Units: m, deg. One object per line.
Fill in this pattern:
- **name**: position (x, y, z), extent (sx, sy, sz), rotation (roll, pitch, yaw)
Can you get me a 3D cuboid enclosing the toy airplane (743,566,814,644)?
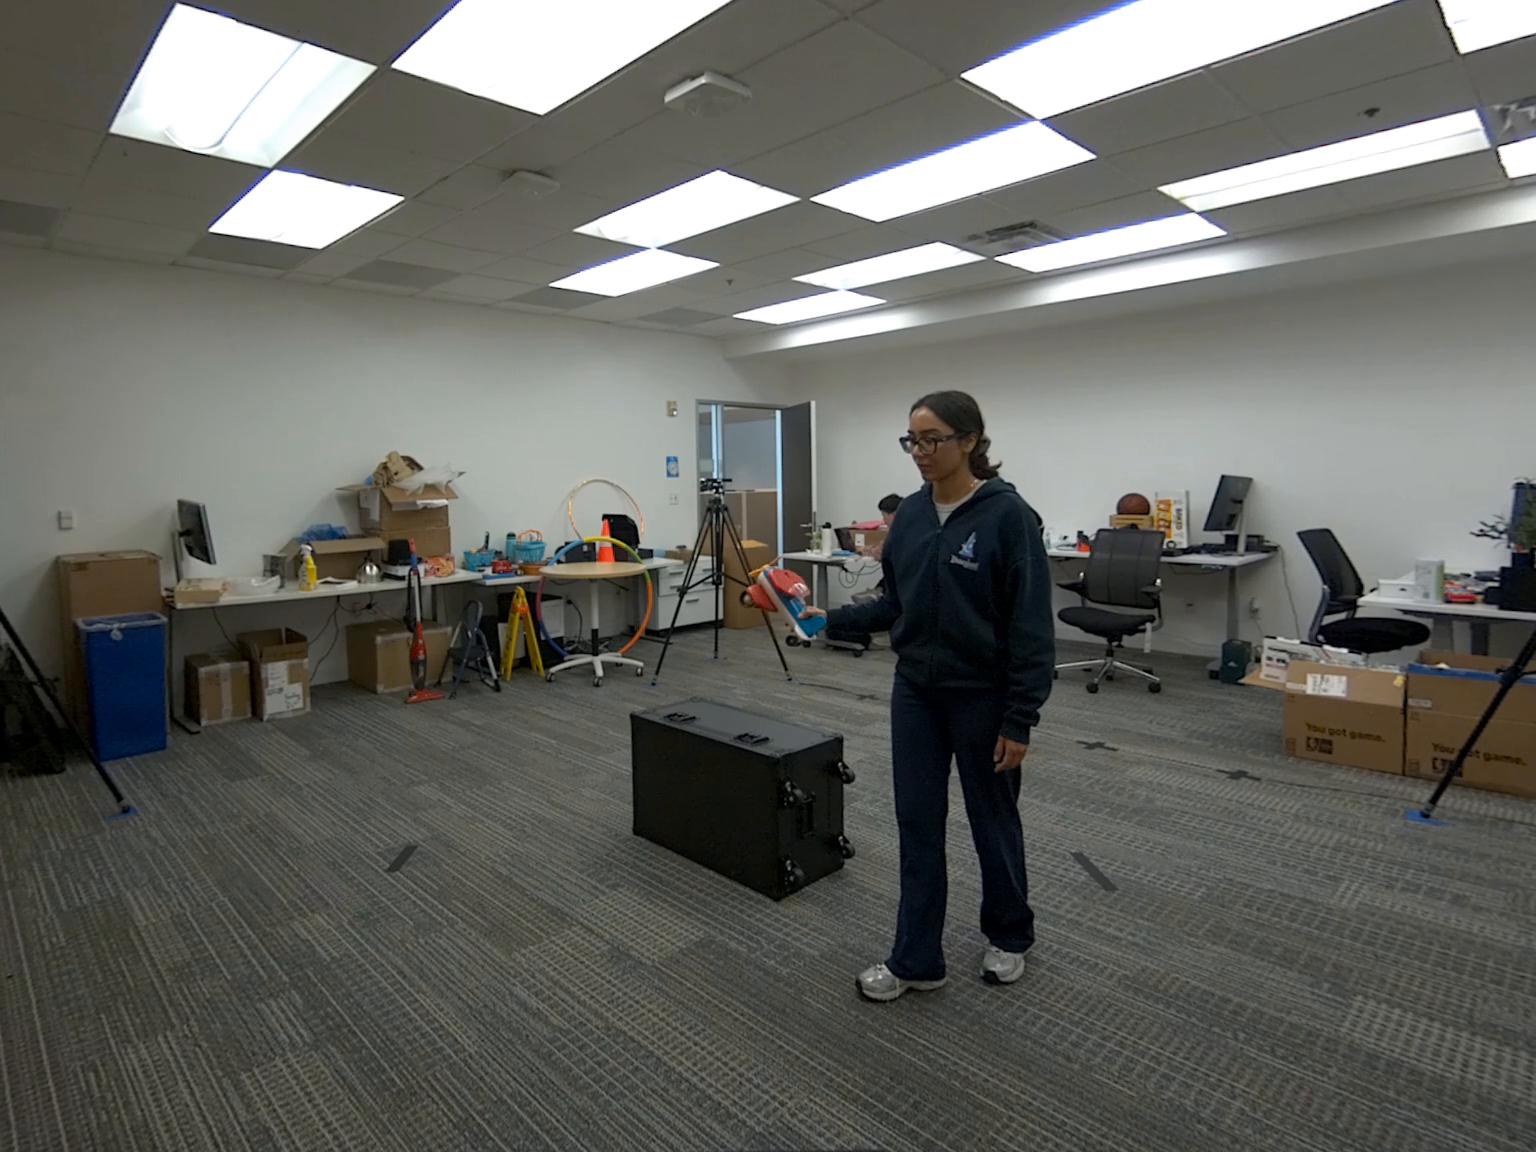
- **toy airplane**: position (0.052, 0.082, 2.543), extent (0.259, 0.156, 0.252), rotation (35, 12, -2)
